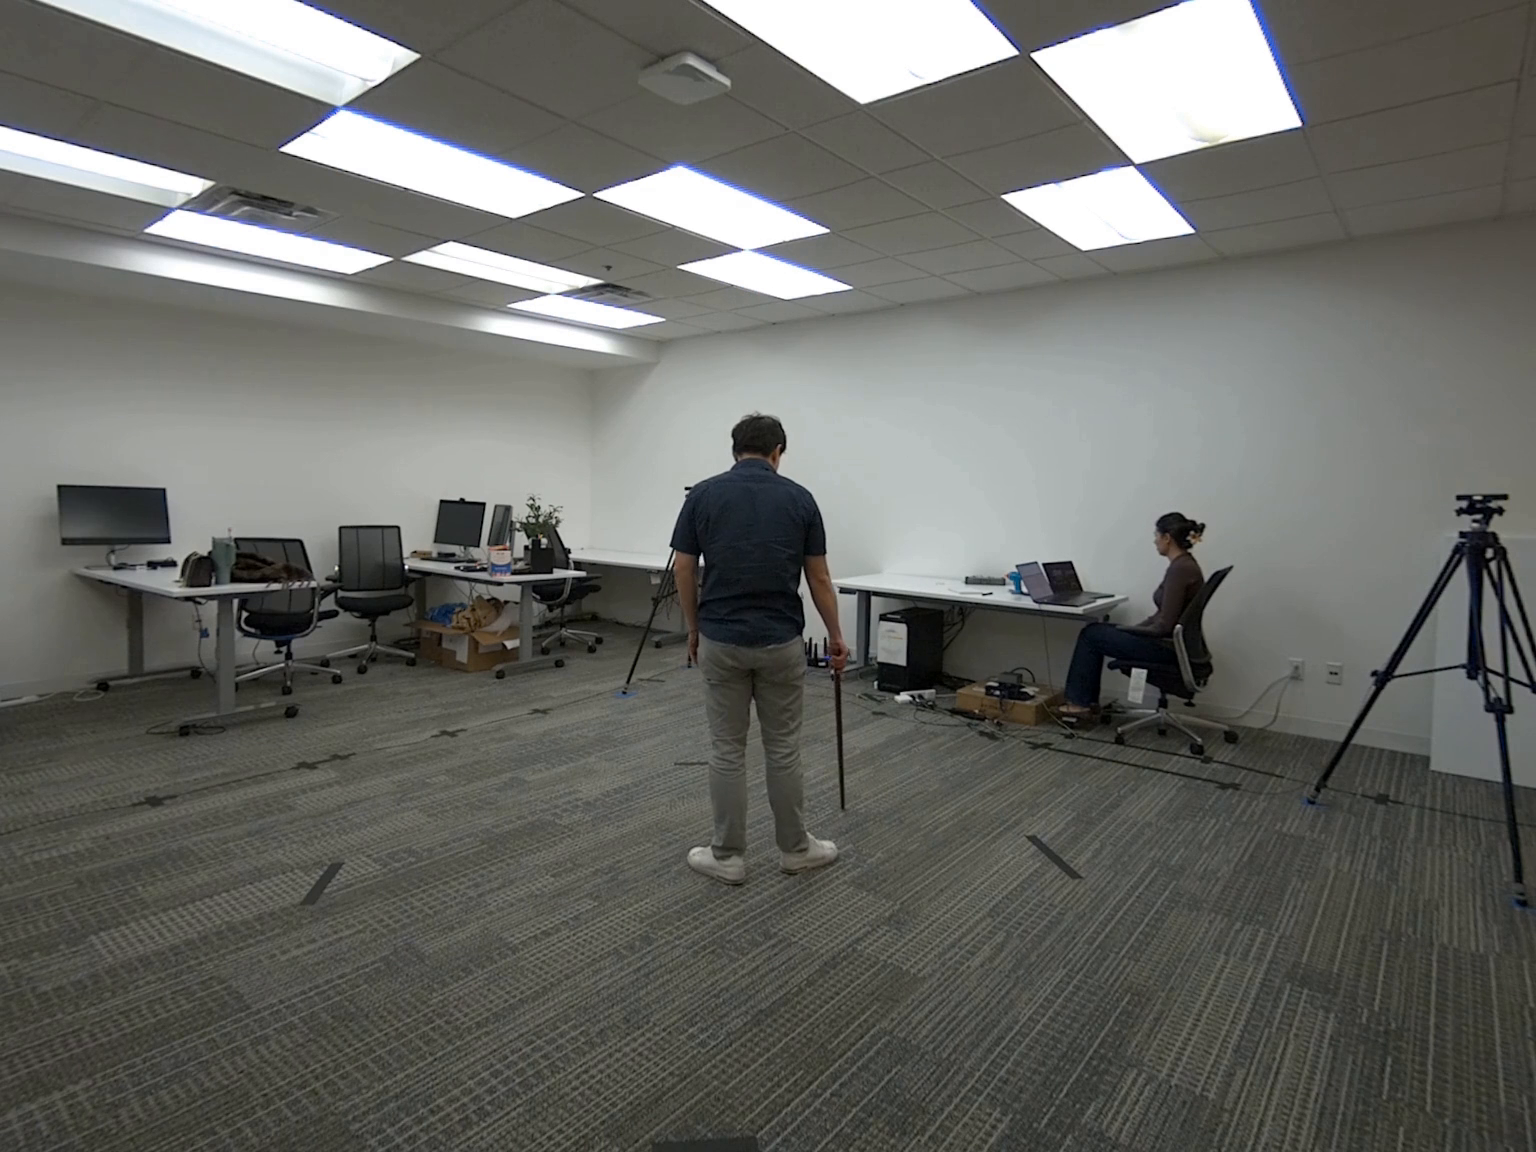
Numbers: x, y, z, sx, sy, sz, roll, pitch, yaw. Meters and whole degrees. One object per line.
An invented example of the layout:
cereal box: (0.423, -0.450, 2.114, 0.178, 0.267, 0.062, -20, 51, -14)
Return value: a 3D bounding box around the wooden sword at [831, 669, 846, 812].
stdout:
wooden sword: (0.260, 0.650, 3.412, 0.051, 0.991, 0.025, -29, 45, -22)
